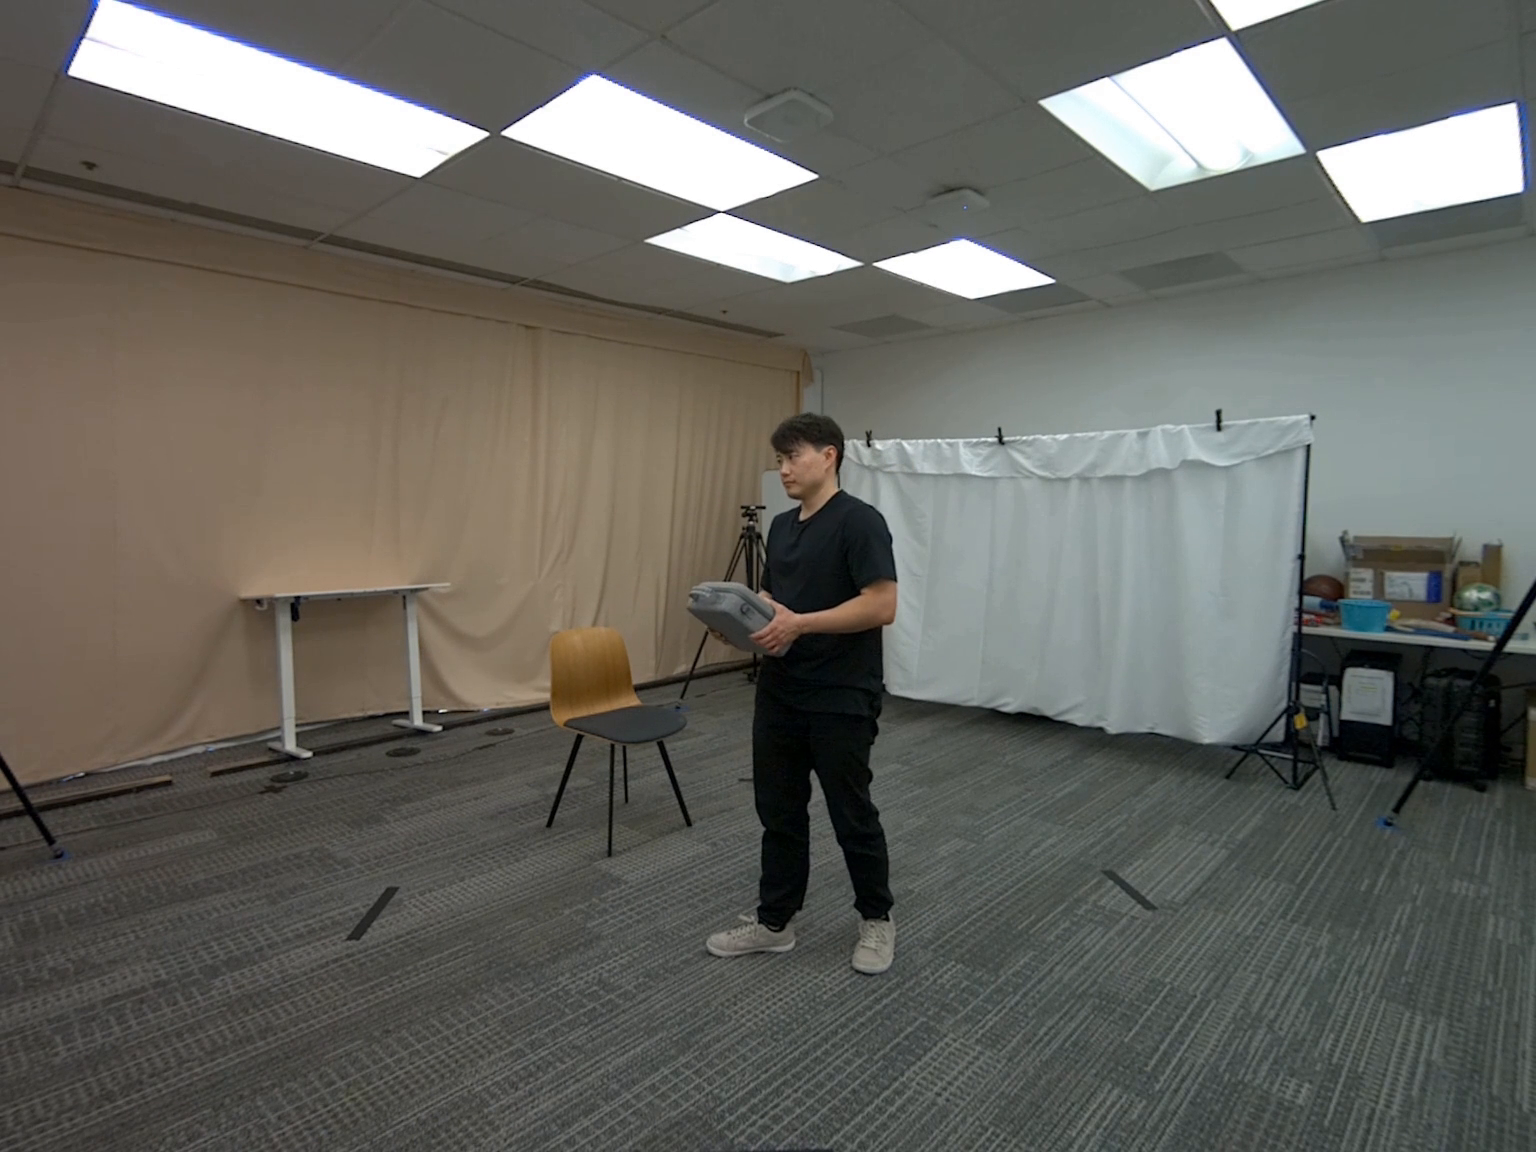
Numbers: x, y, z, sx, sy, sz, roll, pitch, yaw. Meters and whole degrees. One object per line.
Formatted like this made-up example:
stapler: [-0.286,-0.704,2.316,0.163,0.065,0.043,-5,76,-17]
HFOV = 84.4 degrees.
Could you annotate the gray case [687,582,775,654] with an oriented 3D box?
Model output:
gray case: [-0.076,0.115,2.439,0.252,0.104,0.265,35,-19,-31]
